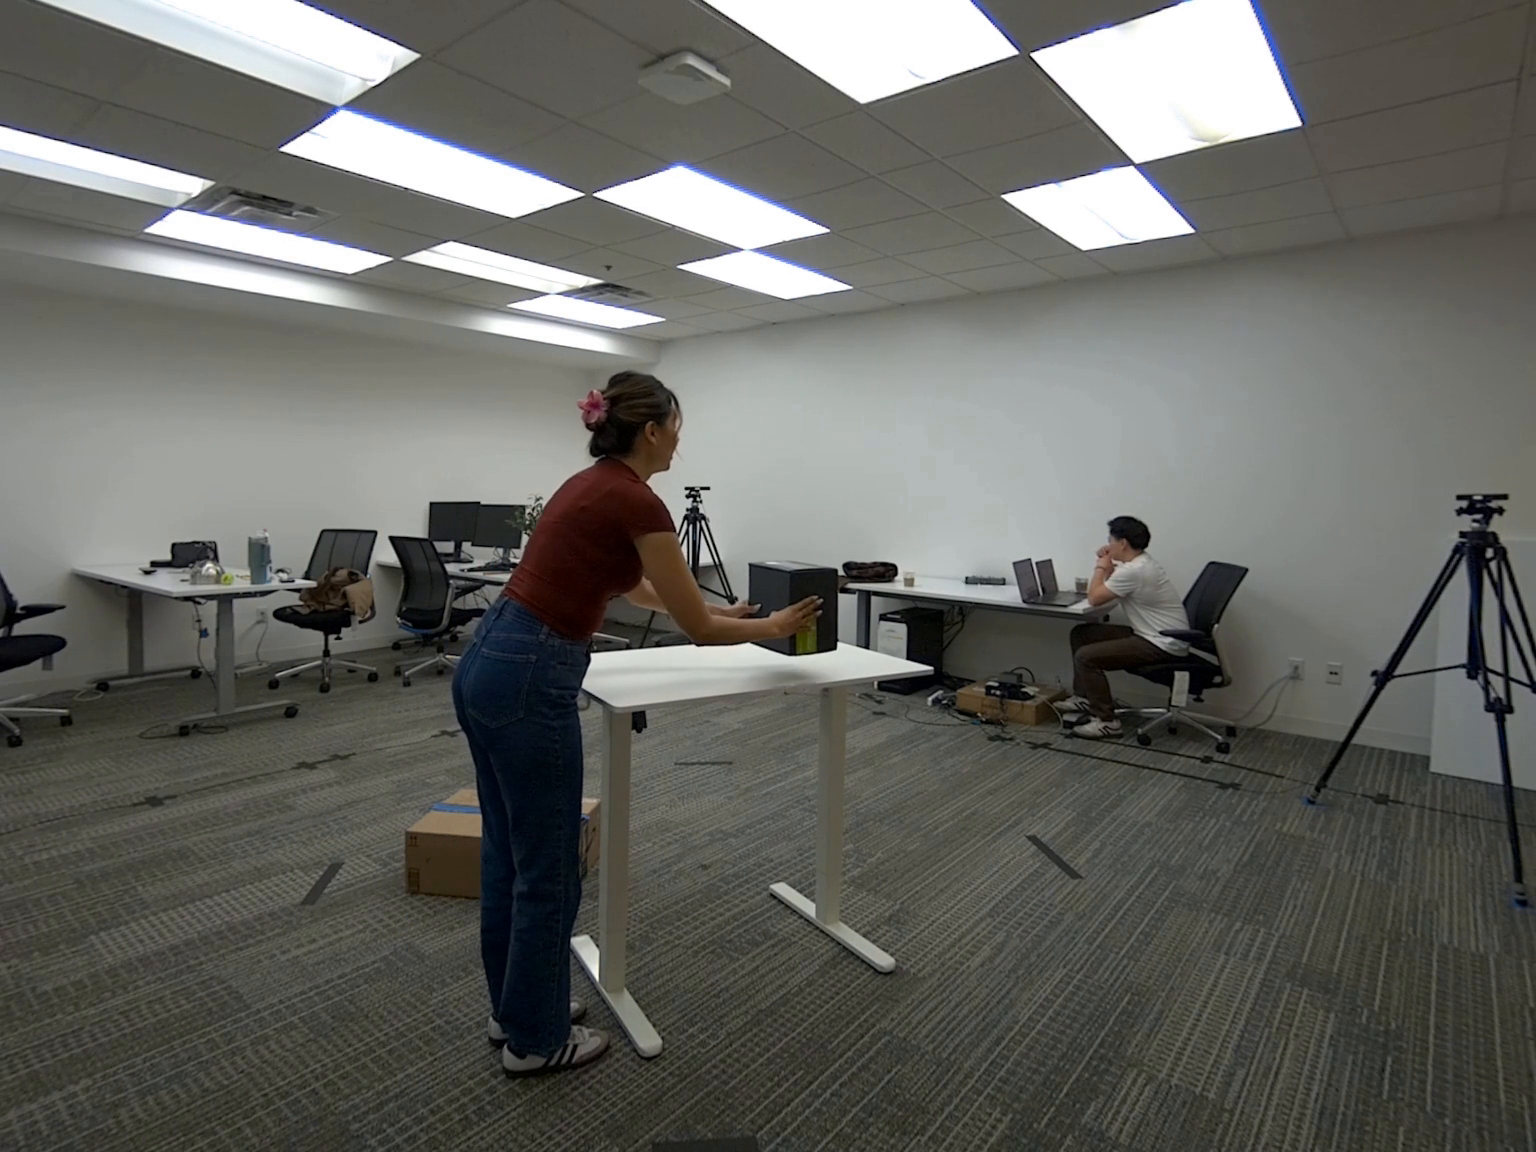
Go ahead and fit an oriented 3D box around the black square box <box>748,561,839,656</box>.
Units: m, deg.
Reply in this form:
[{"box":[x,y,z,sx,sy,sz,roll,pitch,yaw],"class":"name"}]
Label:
[{"box":[0.053,0.077,2.336,0.152,0.226,0.224,-3,8,-33],"class":"black square box"}]
